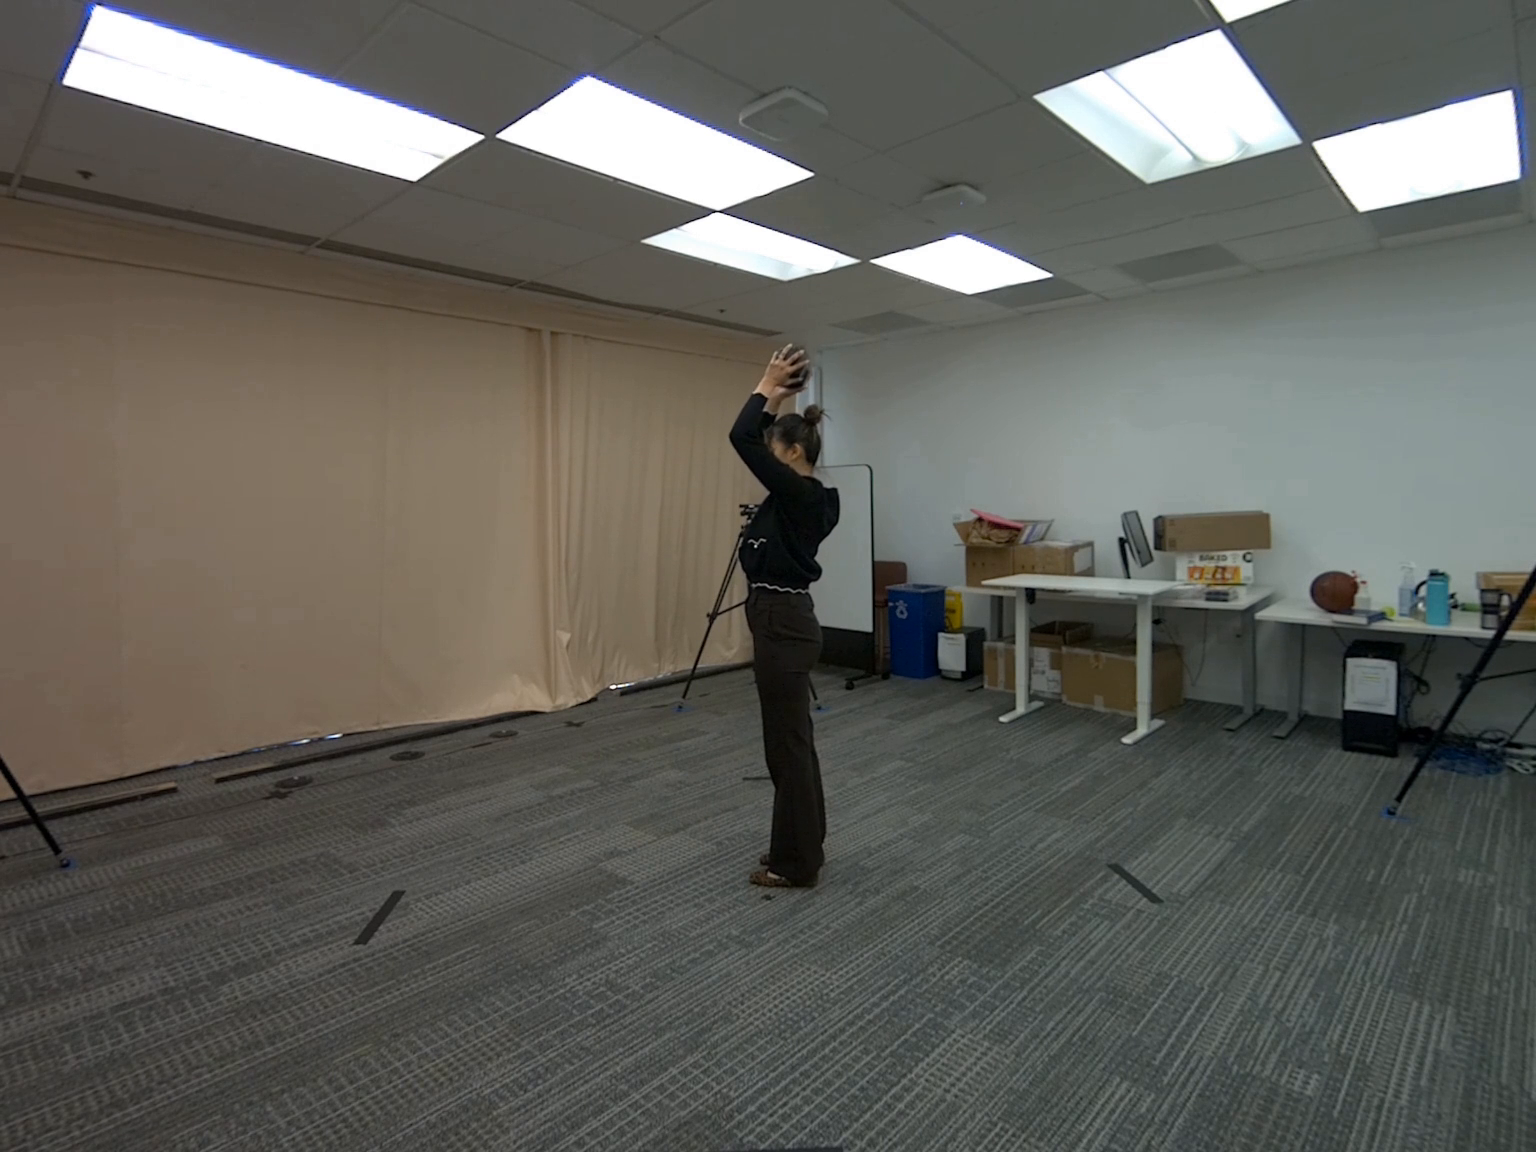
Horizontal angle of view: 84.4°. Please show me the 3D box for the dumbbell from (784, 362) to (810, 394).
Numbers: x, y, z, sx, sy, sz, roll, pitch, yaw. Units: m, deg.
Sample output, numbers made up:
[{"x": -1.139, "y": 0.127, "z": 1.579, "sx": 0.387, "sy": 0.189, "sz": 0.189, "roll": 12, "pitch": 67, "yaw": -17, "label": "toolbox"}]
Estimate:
[{"x": 0.097, "y": -0.762, "z": 3.119, "sx": 0.124, "sy": 0.108, "sz": 0.293, "roll": -4, "pitch": 6, "yaw": 5, "label": "dumbbell"}]
